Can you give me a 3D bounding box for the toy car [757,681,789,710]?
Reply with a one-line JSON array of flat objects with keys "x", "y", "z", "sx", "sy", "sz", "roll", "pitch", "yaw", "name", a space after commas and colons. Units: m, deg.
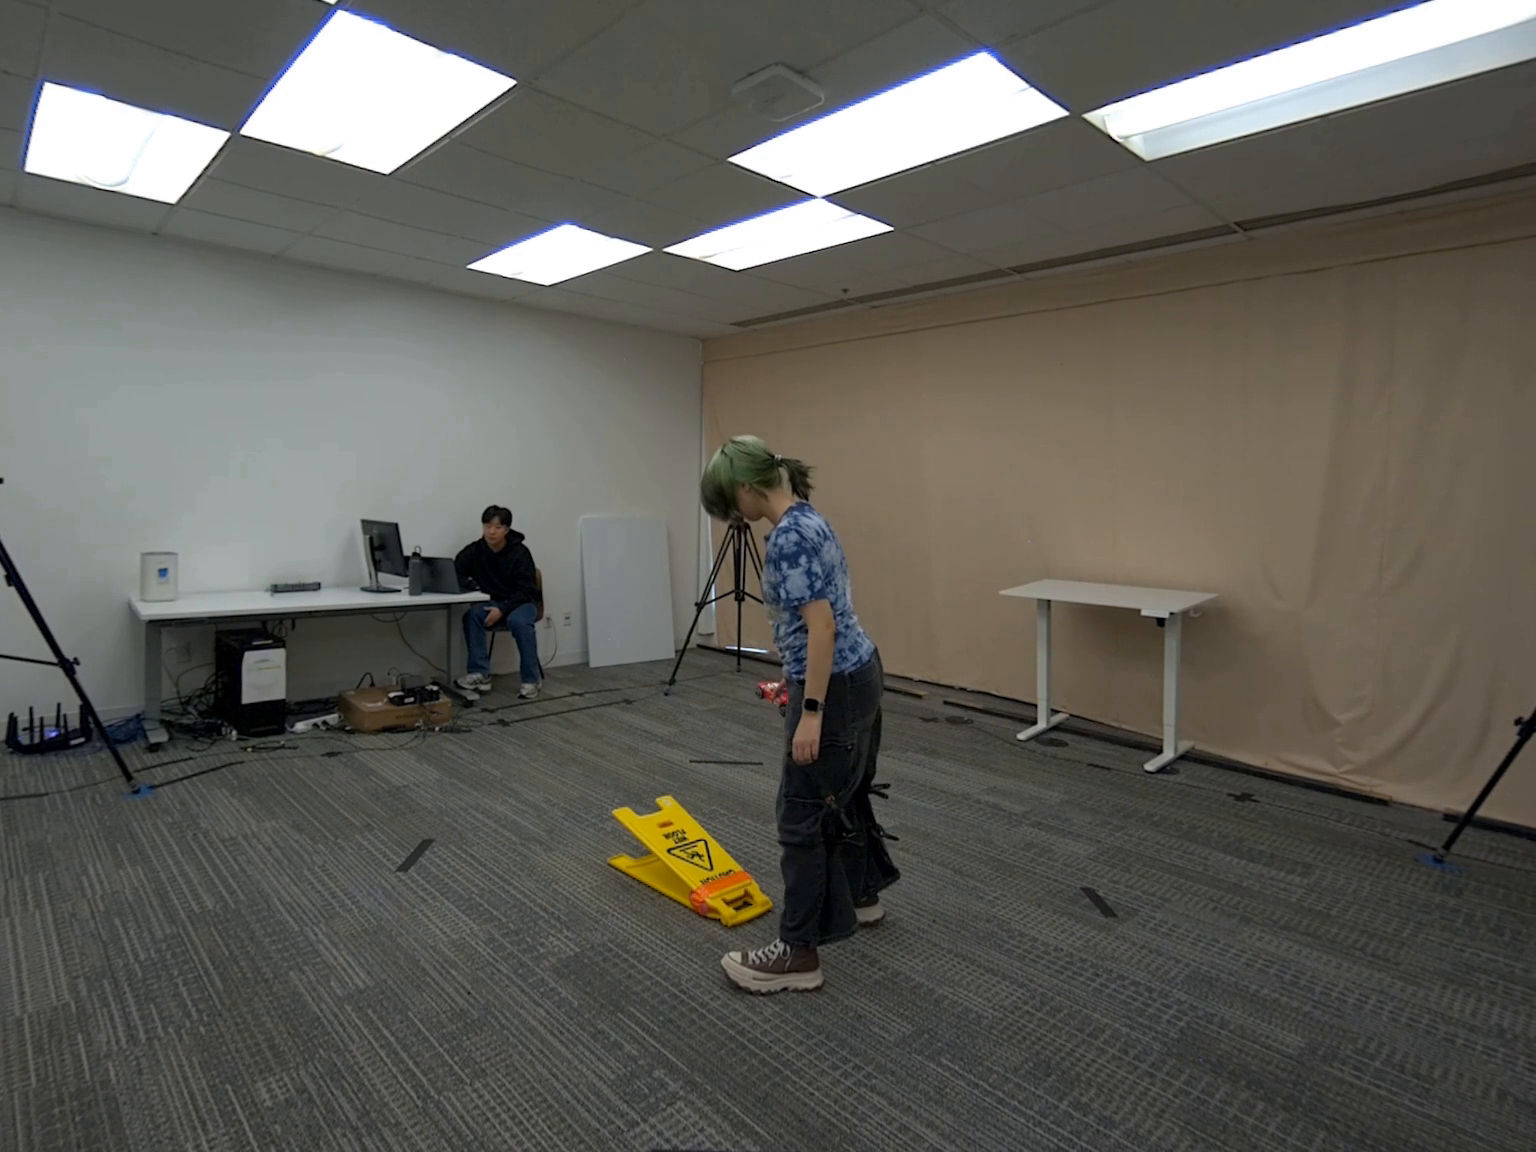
[{"x": 0.064, "y": 0.427, "z": 2.864, "sx": 0.127, "sy": 0.083, "sz": 0.261, "roll": 0, "pitch": 6, "yaw": -36, "name": "toy car"}]
